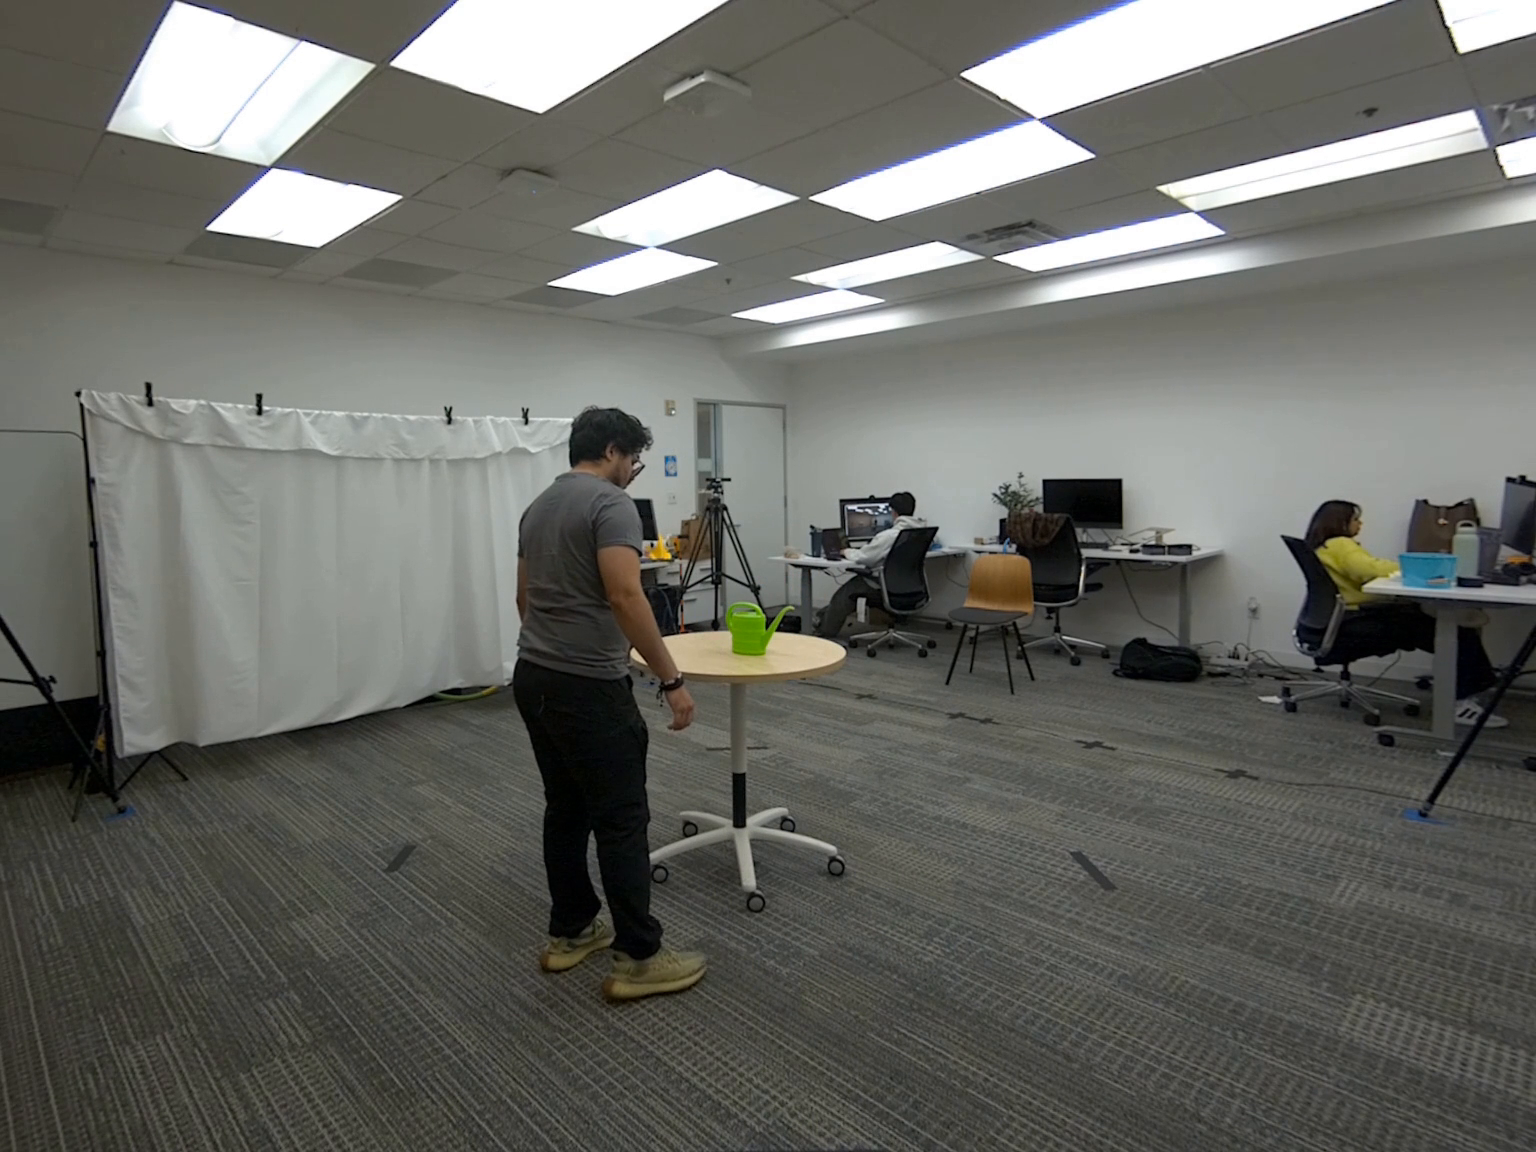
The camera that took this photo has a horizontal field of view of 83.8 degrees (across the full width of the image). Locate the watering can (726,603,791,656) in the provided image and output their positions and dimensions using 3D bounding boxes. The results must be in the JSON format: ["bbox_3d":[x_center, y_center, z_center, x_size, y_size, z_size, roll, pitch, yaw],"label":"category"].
[{"bbox_3d":[-0.032,0.186,2.980,0.095,0.176,0.287,-3,5,-41],"label":"watering can"}]
